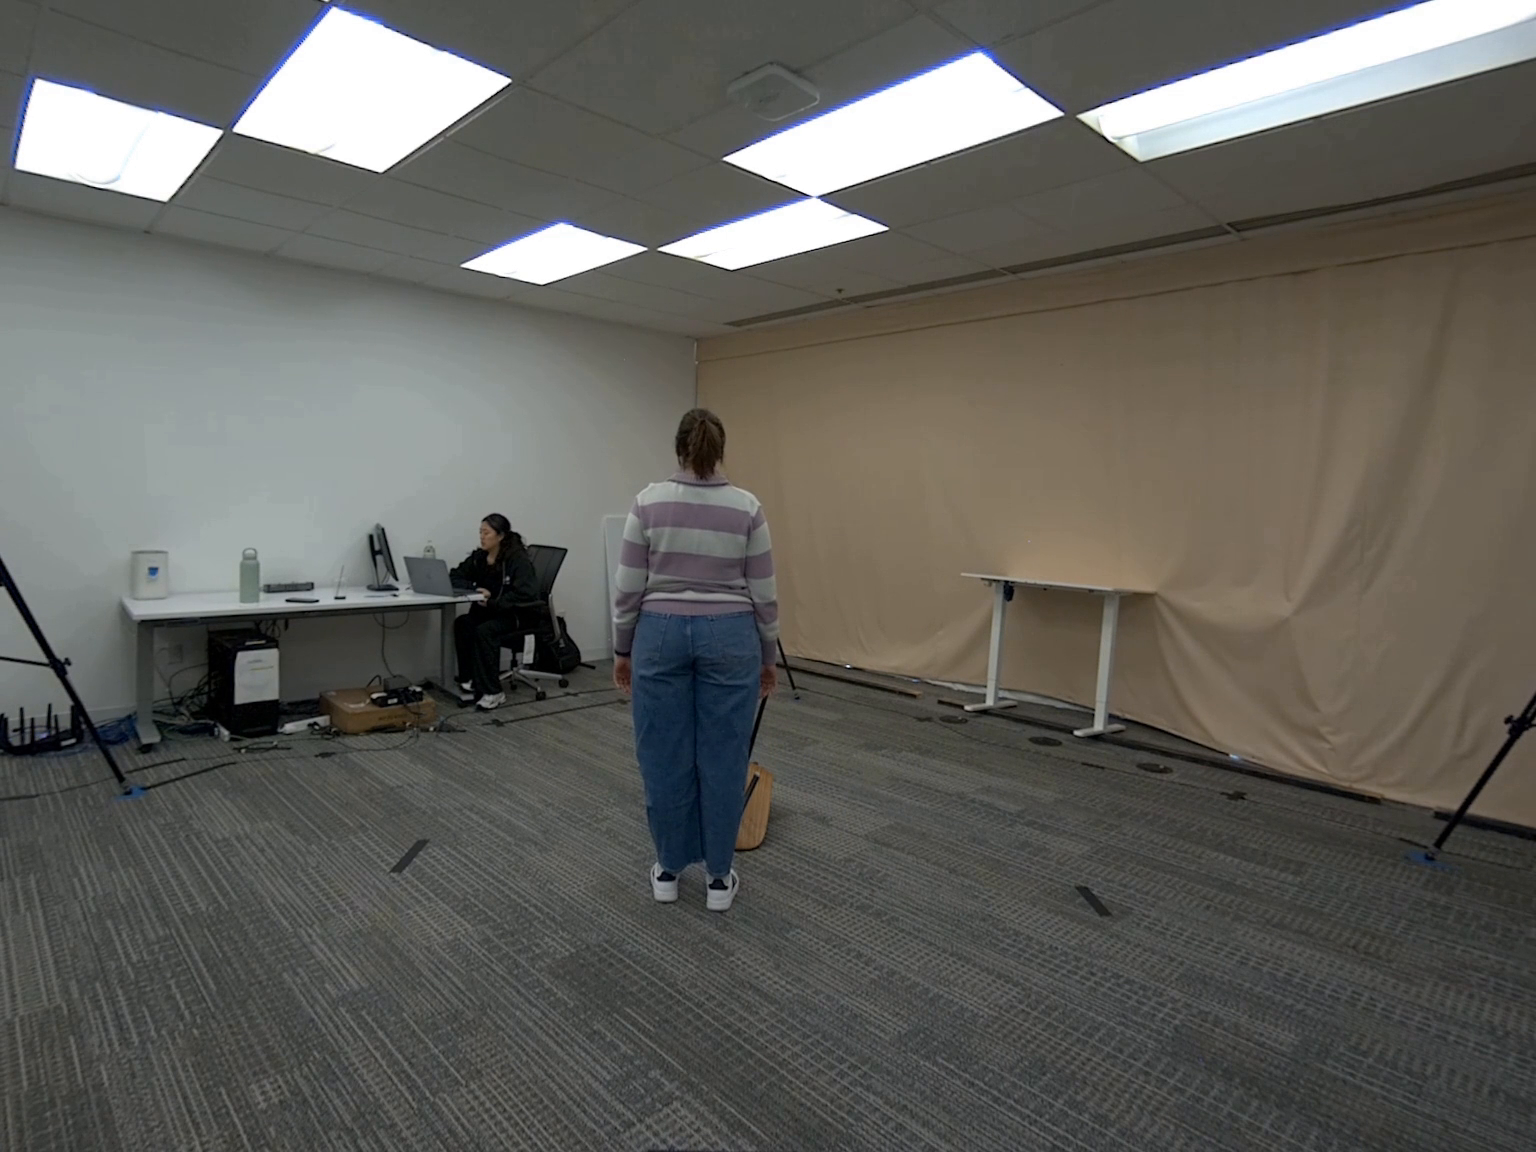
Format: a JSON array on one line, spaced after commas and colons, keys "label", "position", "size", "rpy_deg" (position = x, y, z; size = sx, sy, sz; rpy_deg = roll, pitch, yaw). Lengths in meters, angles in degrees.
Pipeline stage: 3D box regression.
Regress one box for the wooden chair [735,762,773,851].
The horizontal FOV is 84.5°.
[{"label": "wooden chair", "position": [-0.233, 0.897, 3.510], "size": [0.481, 0.857, 0.532], "rpy_deg": [3, 44, 6]}]
